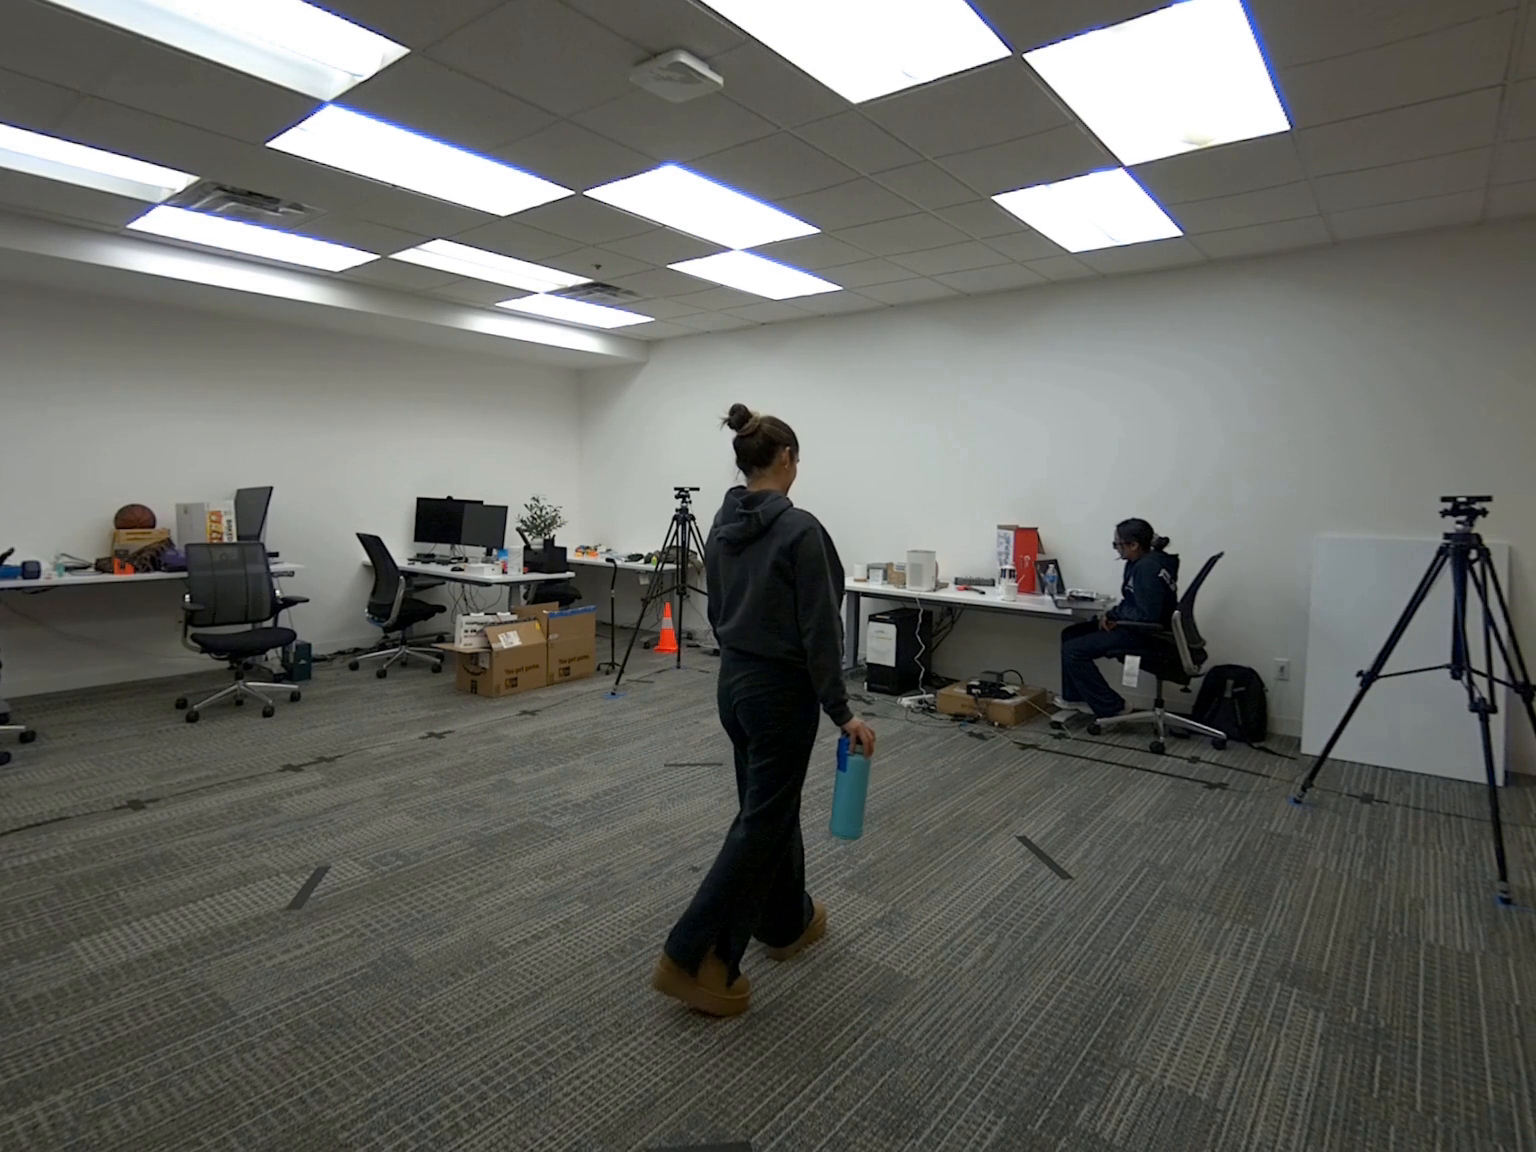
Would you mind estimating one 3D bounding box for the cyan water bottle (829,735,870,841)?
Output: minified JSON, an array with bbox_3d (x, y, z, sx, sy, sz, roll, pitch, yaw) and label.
[{"bbox_3d":[0.232,0.562,2.298,0.092,0.283,0.092,6,-1,-2],"label":"cyan water bottle"}]
